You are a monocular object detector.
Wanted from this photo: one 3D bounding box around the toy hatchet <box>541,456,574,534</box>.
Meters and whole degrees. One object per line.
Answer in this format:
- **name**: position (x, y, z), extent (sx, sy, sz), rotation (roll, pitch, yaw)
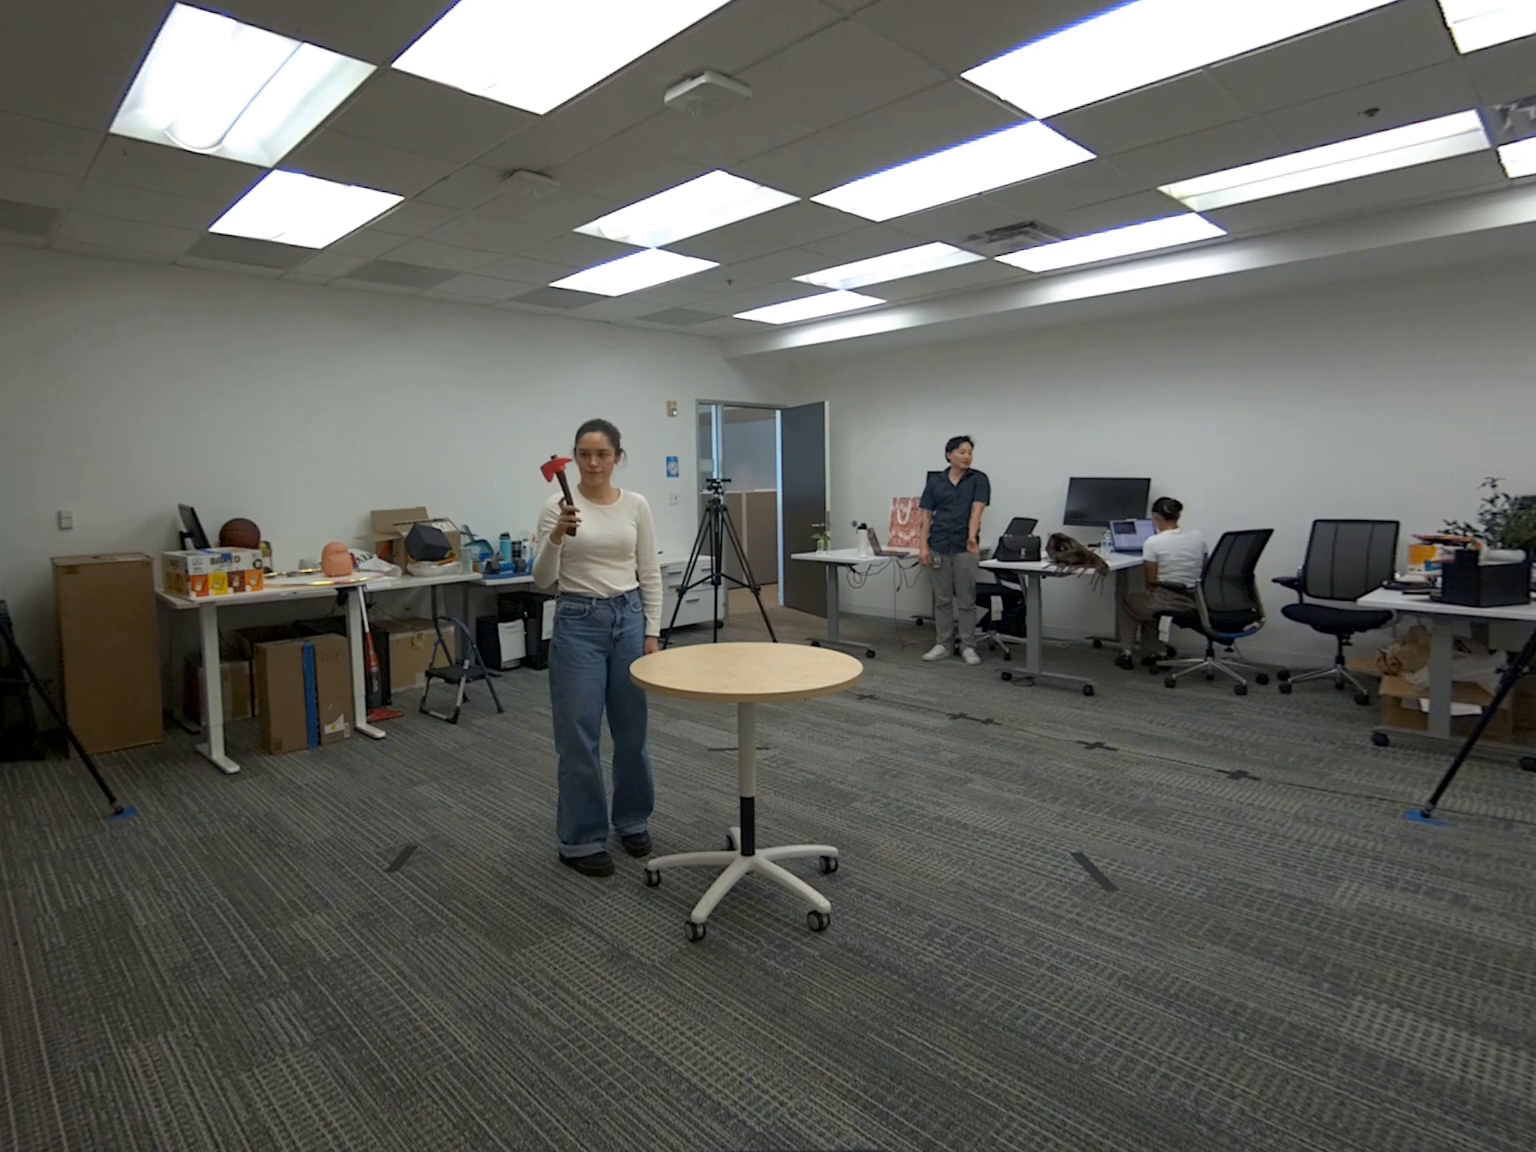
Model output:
- **toy hatchet**: position (-0.699, -0.266, 2.820), extent (0.134, 0.266, 0.029), rotation (10, 21, 20)
